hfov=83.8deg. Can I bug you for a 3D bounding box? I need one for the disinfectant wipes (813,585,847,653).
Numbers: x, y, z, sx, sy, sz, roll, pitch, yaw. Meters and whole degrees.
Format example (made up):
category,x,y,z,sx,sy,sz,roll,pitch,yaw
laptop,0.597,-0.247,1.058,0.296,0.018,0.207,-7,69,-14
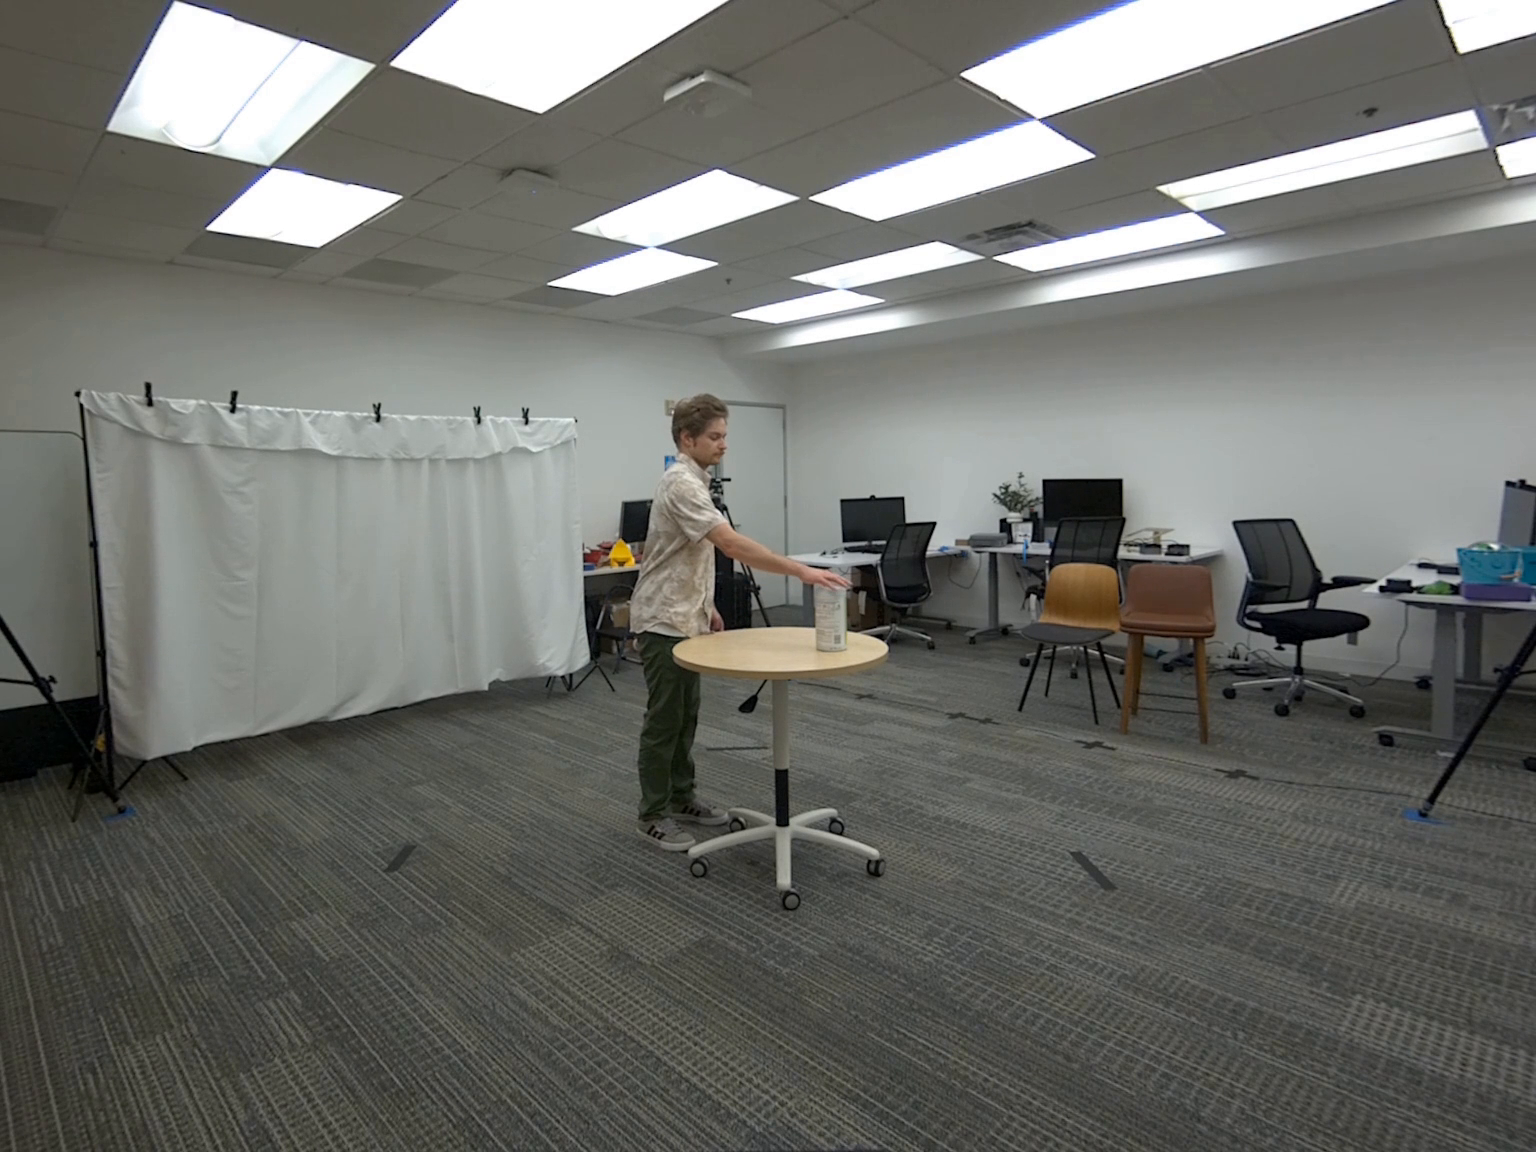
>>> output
category,x,y,z,sx,sy,sz,roll,pitch,yaw
disinfectant wipes,0.222,0.149,2.987,0.118,0.217,0.118,-3,4,-1
